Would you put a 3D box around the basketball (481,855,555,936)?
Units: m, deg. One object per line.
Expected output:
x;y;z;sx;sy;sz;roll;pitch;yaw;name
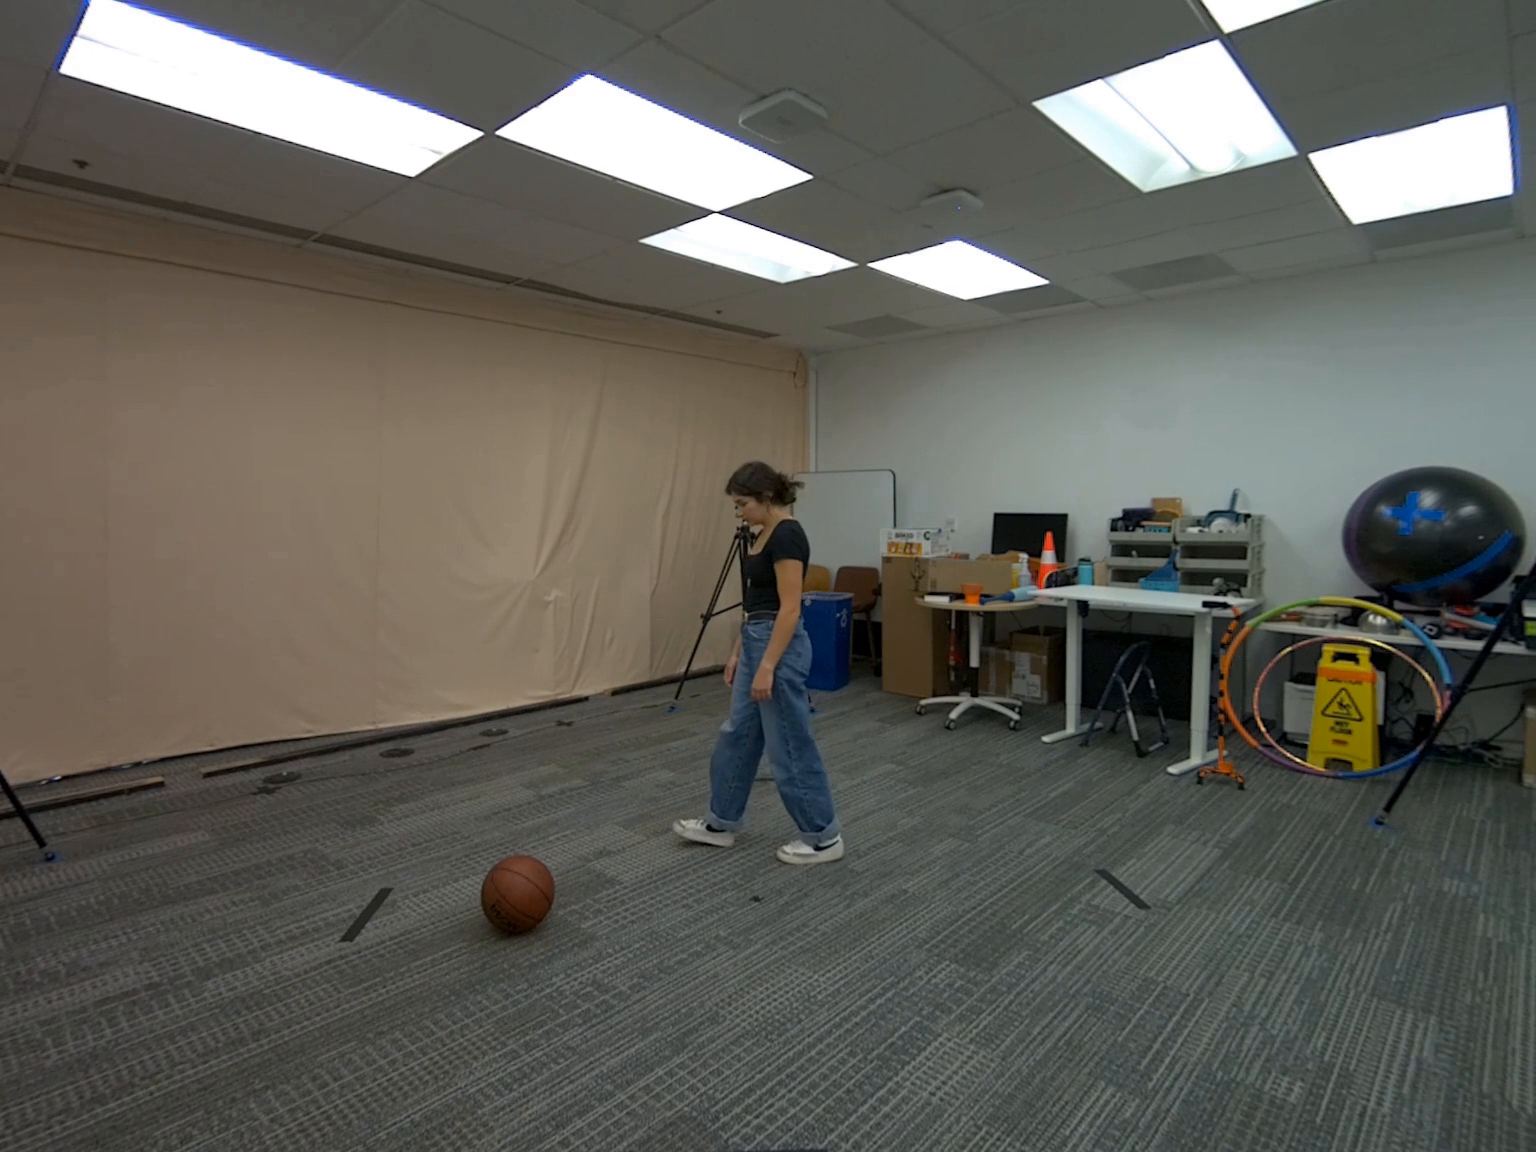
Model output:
-0.829;1.045;2.778;0.236;0.235;0.237;0;4;-2;basketball
